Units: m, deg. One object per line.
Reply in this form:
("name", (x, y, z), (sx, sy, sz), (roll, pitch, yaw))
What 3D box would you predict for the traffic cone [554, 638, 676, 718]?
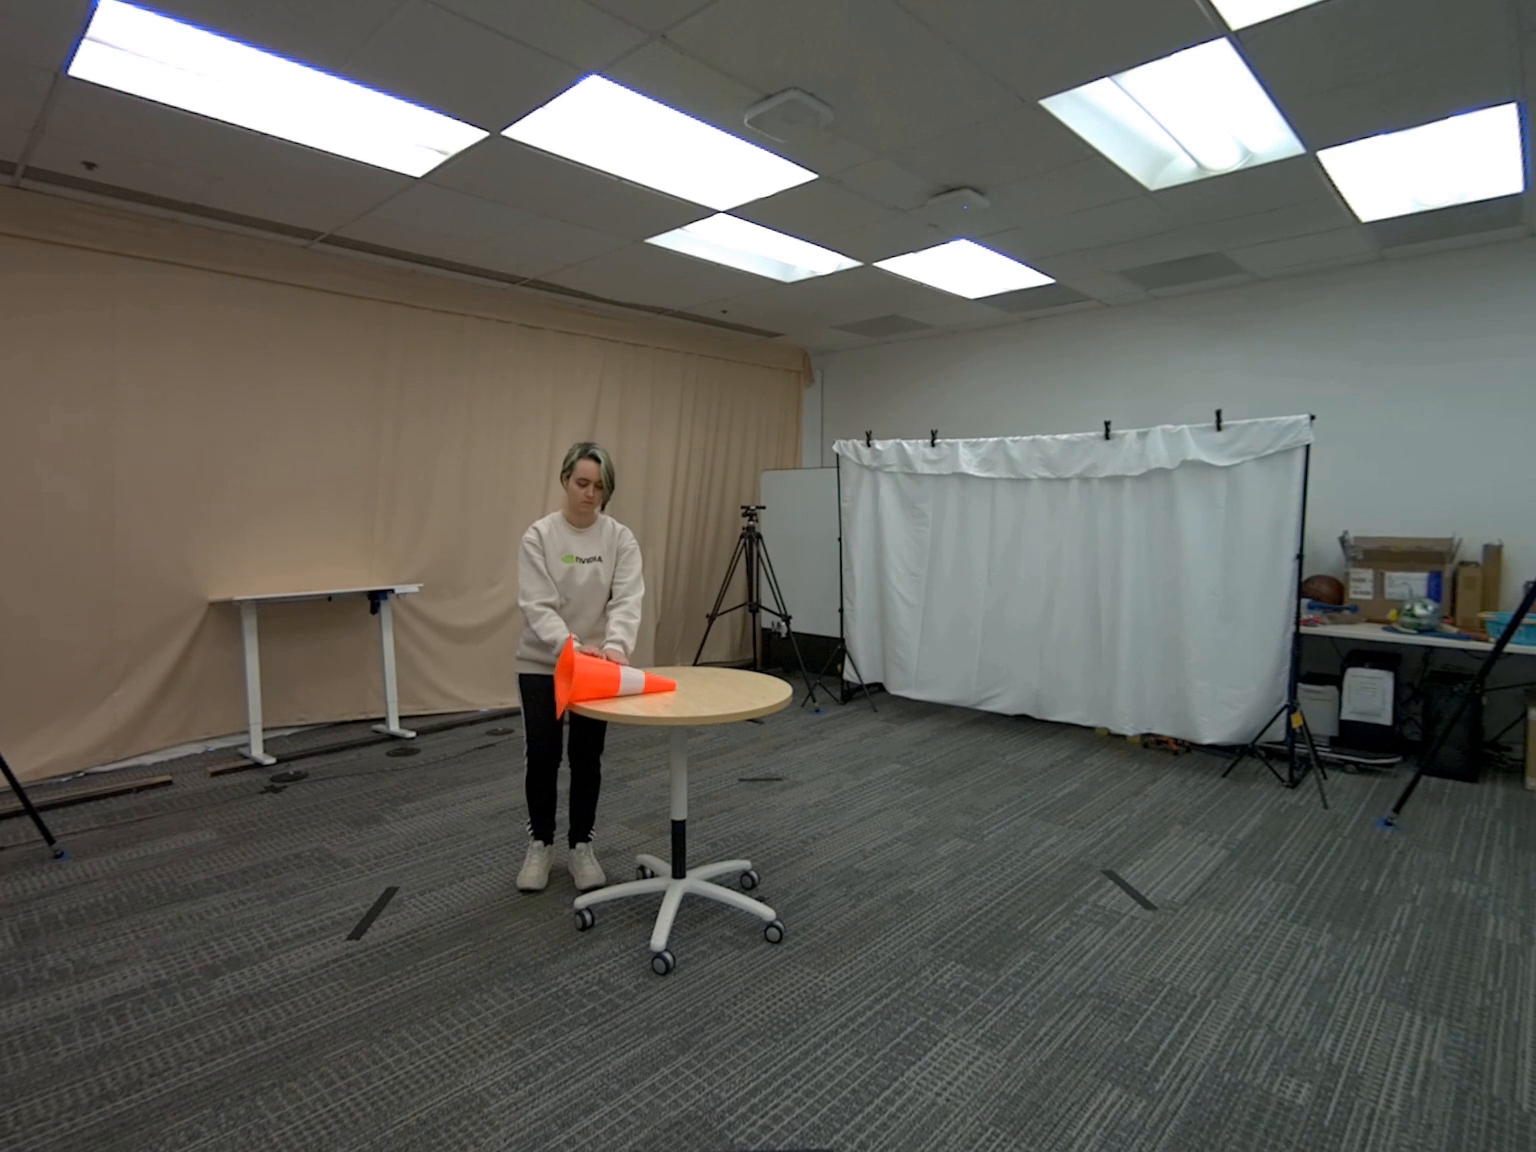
("traffic cone", (-0.475, 0.339, 2.703), (0.373, 0.204, 0.210), (11, 42, -27))
